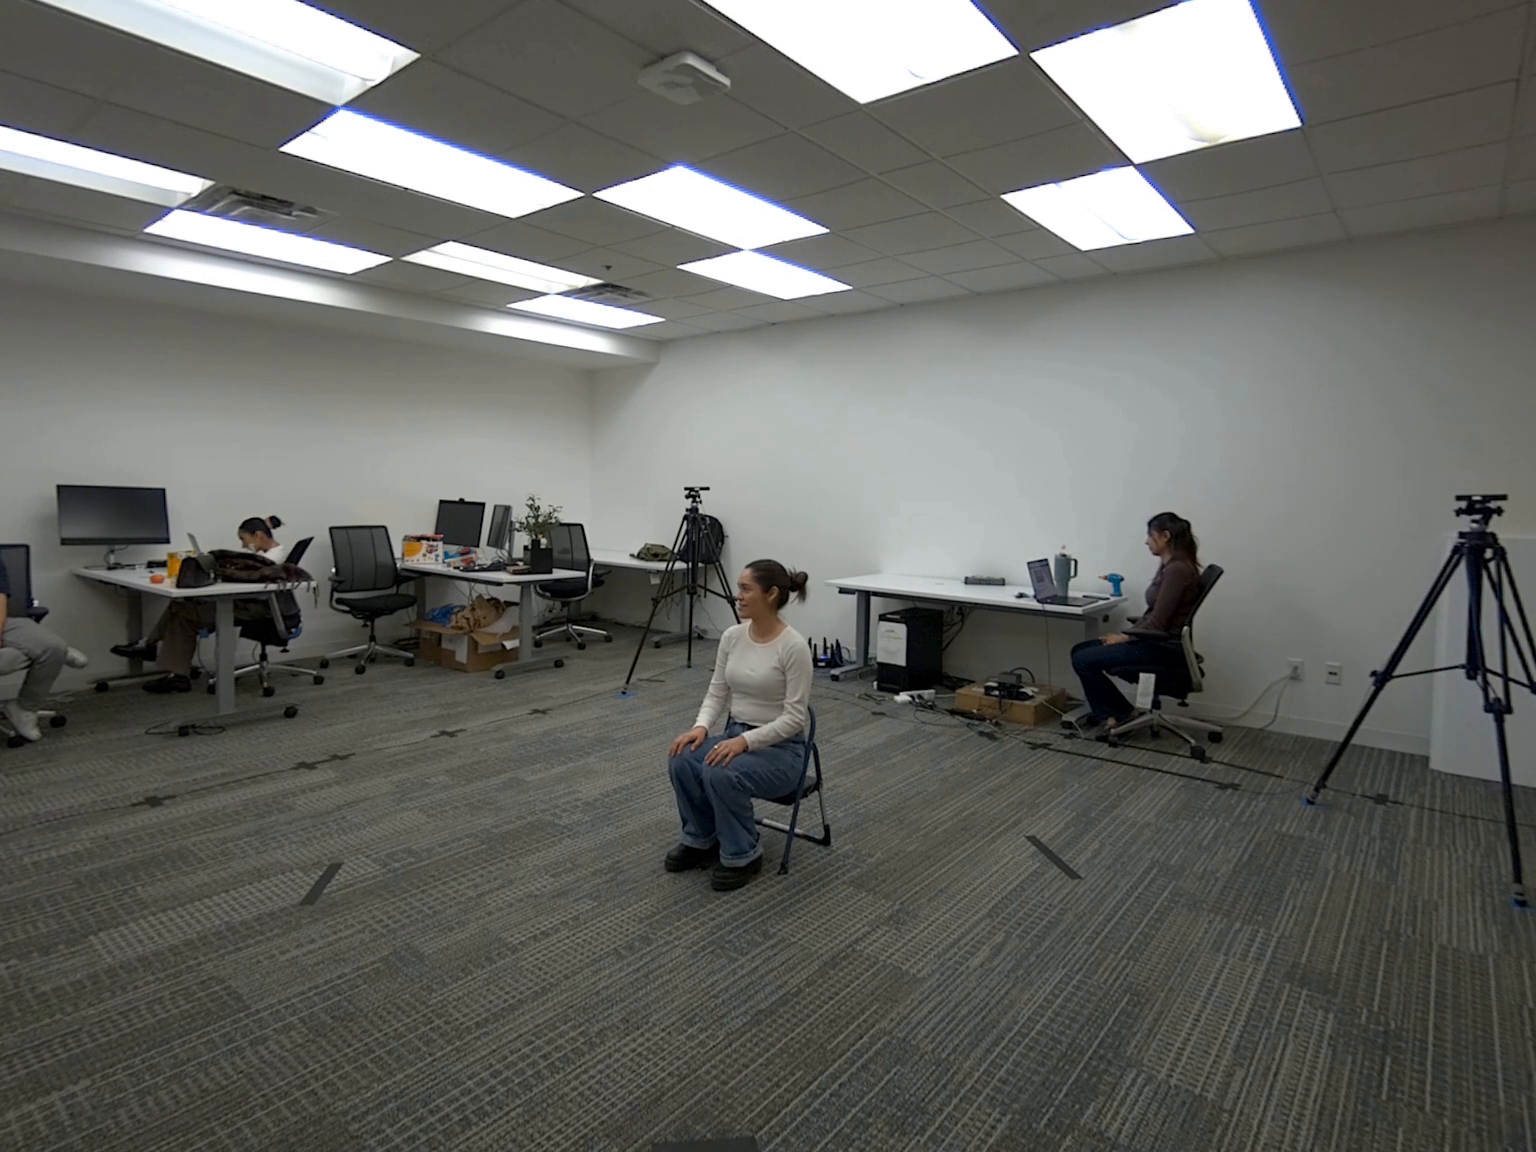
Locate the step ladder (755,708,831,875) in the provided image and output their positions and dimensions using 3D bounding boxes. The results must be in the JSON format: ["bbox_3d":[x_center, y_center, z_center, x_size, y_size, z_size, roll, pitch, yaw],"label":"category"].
[{"bbox_3d":[-0.014,0.742,3.318,0.445,0.604,0.339,4,4,37],"label":"step ladder"}]
